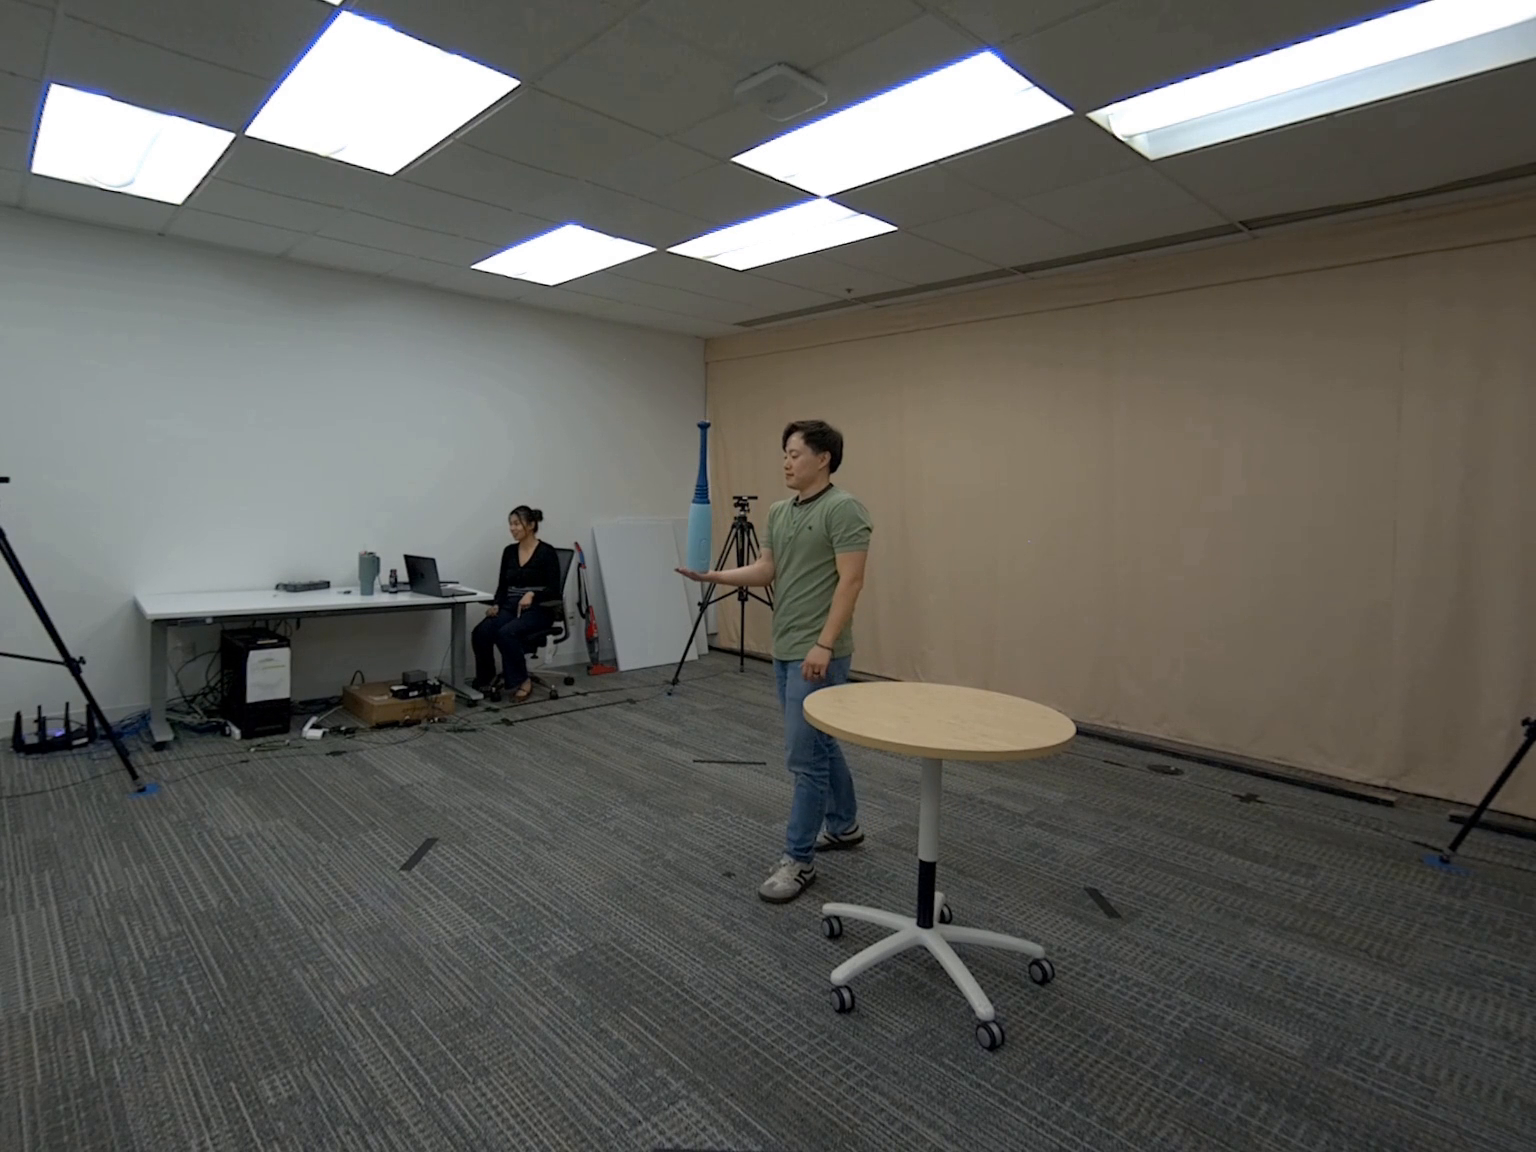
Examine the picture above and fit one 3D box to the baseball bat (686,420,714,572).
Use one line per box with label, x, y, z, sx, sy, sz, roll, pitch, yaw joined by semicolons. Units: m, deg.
baseball bat;-0.246;-0.279;2.986;0.089;0.540;0.089;3;7;-2
